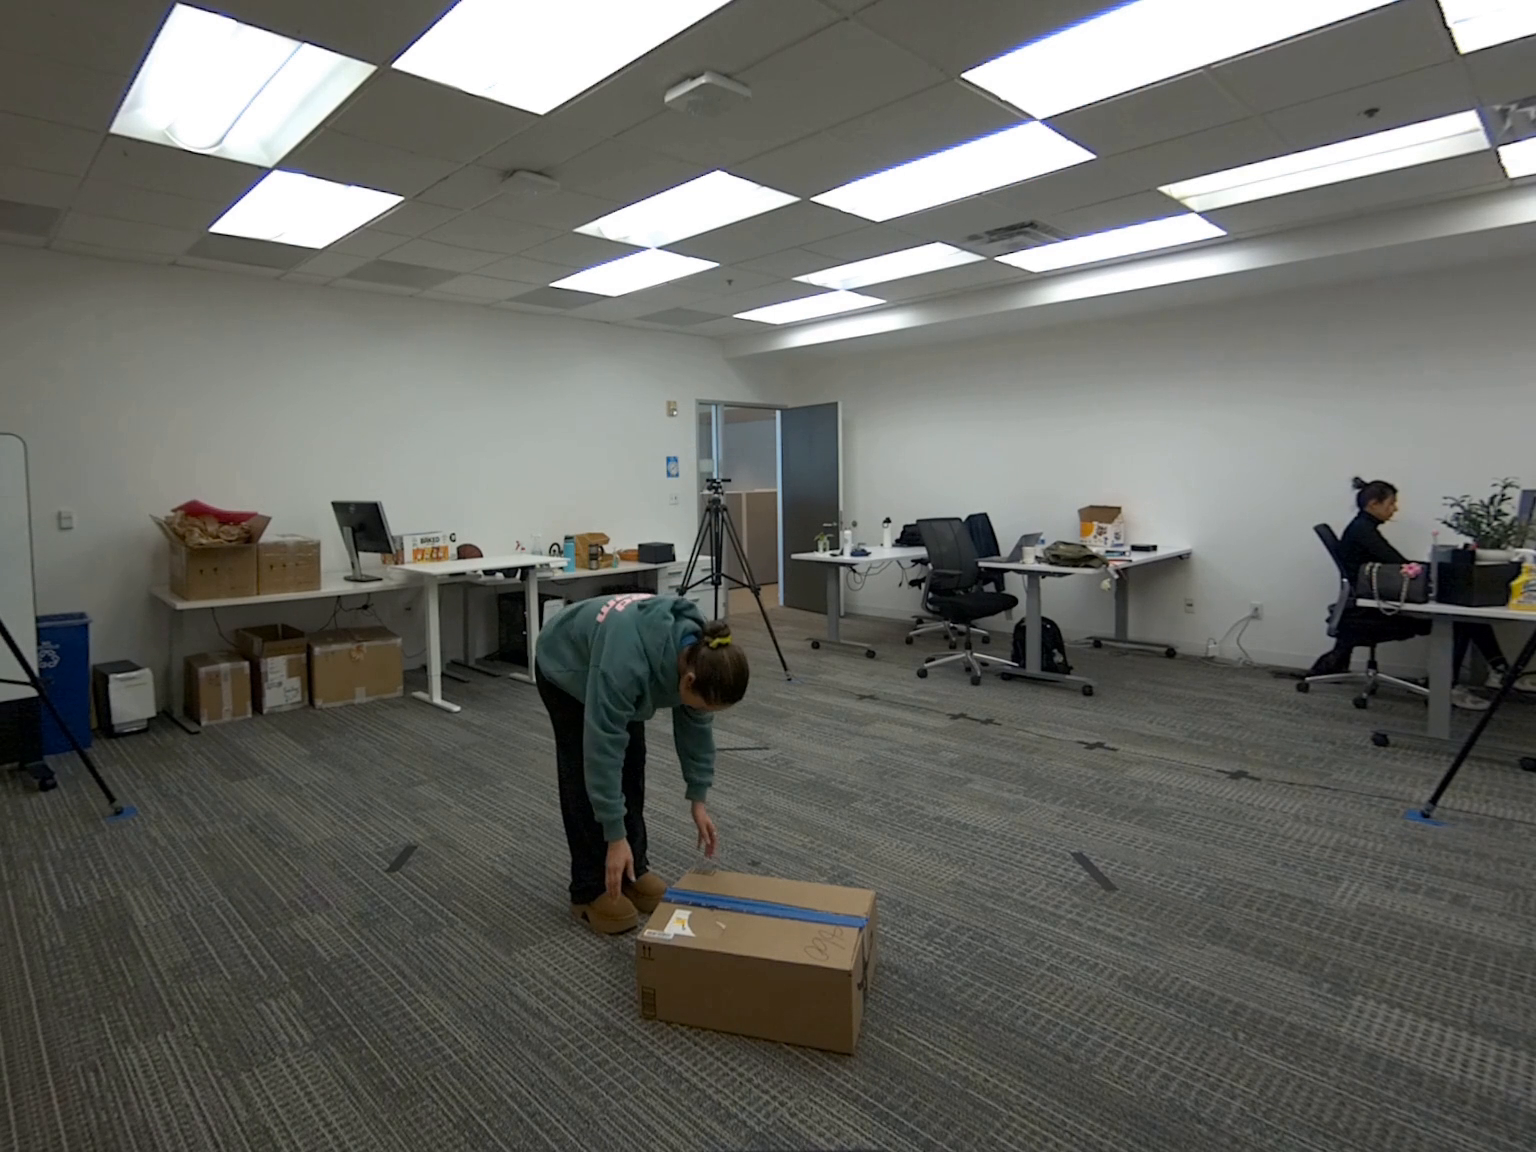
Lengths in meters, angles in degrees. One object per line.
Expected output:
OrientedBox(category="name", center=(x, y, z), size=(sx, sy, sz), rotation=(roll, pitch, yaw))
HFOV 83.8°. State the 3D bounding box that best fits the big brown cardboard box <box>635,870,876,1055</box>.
OrientedBox(category="big brown cardboard box", center=(-0.016, 1.020, 2.336), size=(0.598, 0.232, 0.413), rotation=(1, 6, 16))
